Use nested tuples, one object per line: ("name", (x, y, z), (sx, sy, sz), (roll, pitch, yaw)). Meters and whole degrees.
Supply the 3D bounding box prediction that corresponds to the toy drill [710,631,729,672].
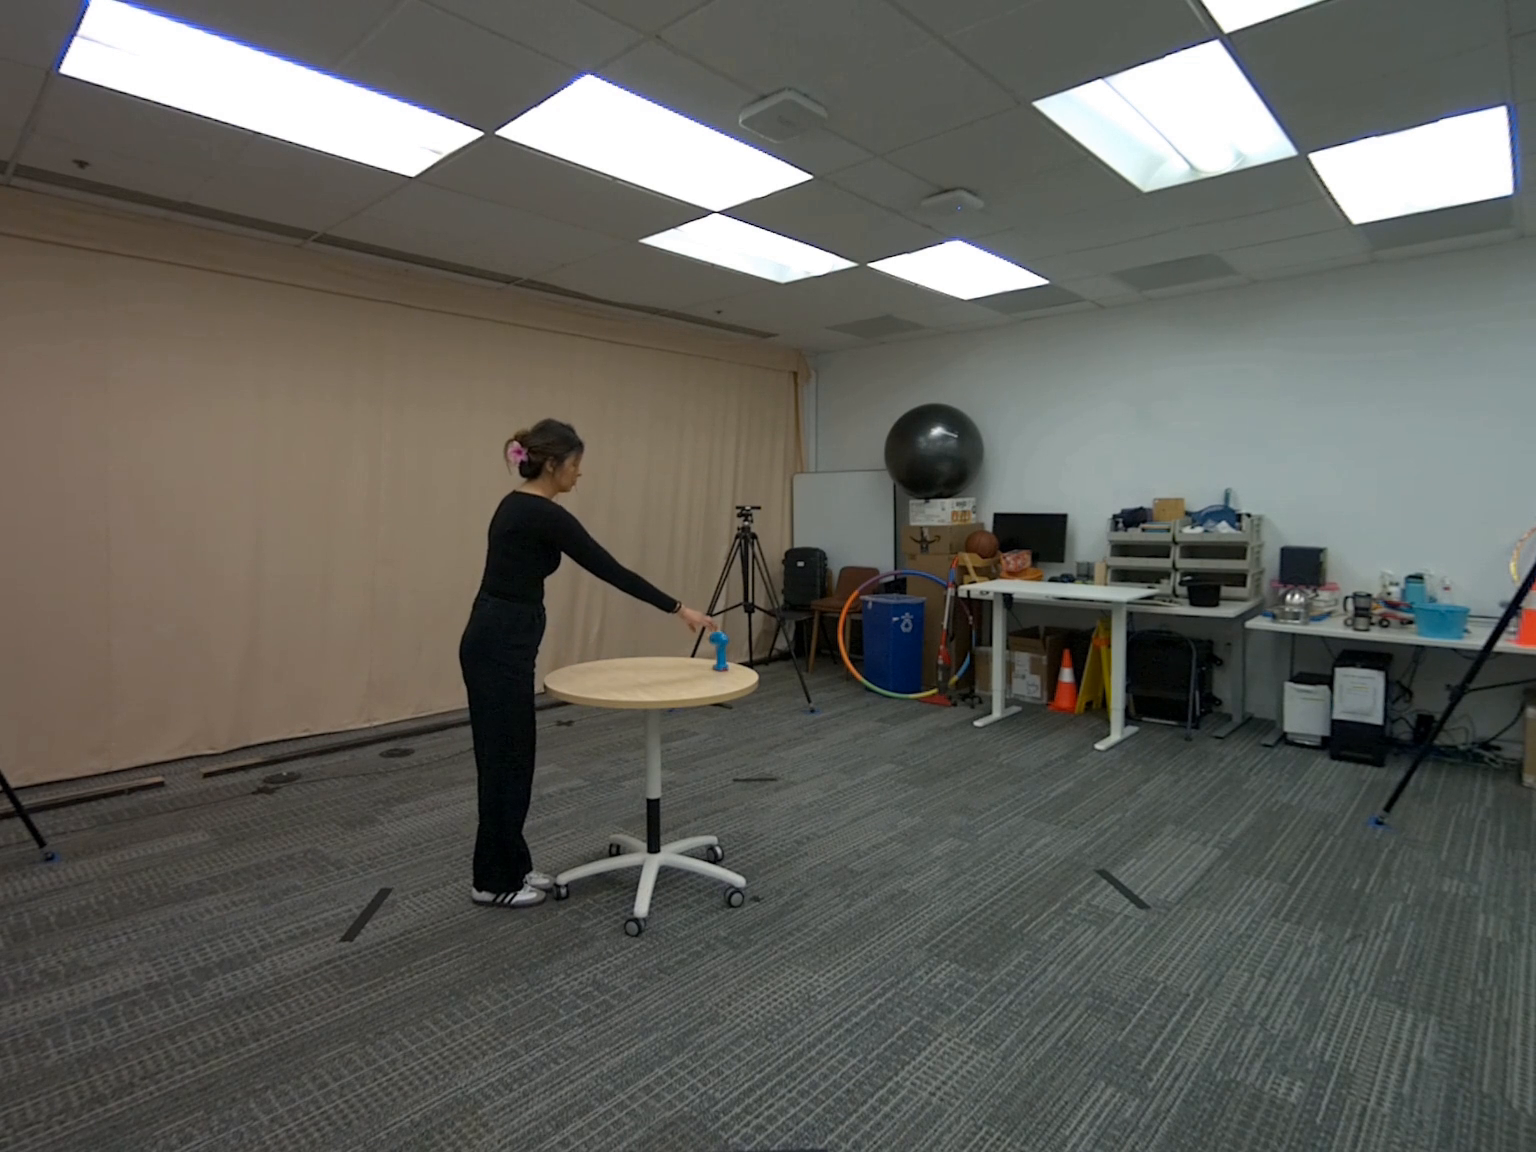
("toy drill", (-0.189, 0.274, 3.164), (0.059, 0.146, 0.174), (0, 4, -28))
